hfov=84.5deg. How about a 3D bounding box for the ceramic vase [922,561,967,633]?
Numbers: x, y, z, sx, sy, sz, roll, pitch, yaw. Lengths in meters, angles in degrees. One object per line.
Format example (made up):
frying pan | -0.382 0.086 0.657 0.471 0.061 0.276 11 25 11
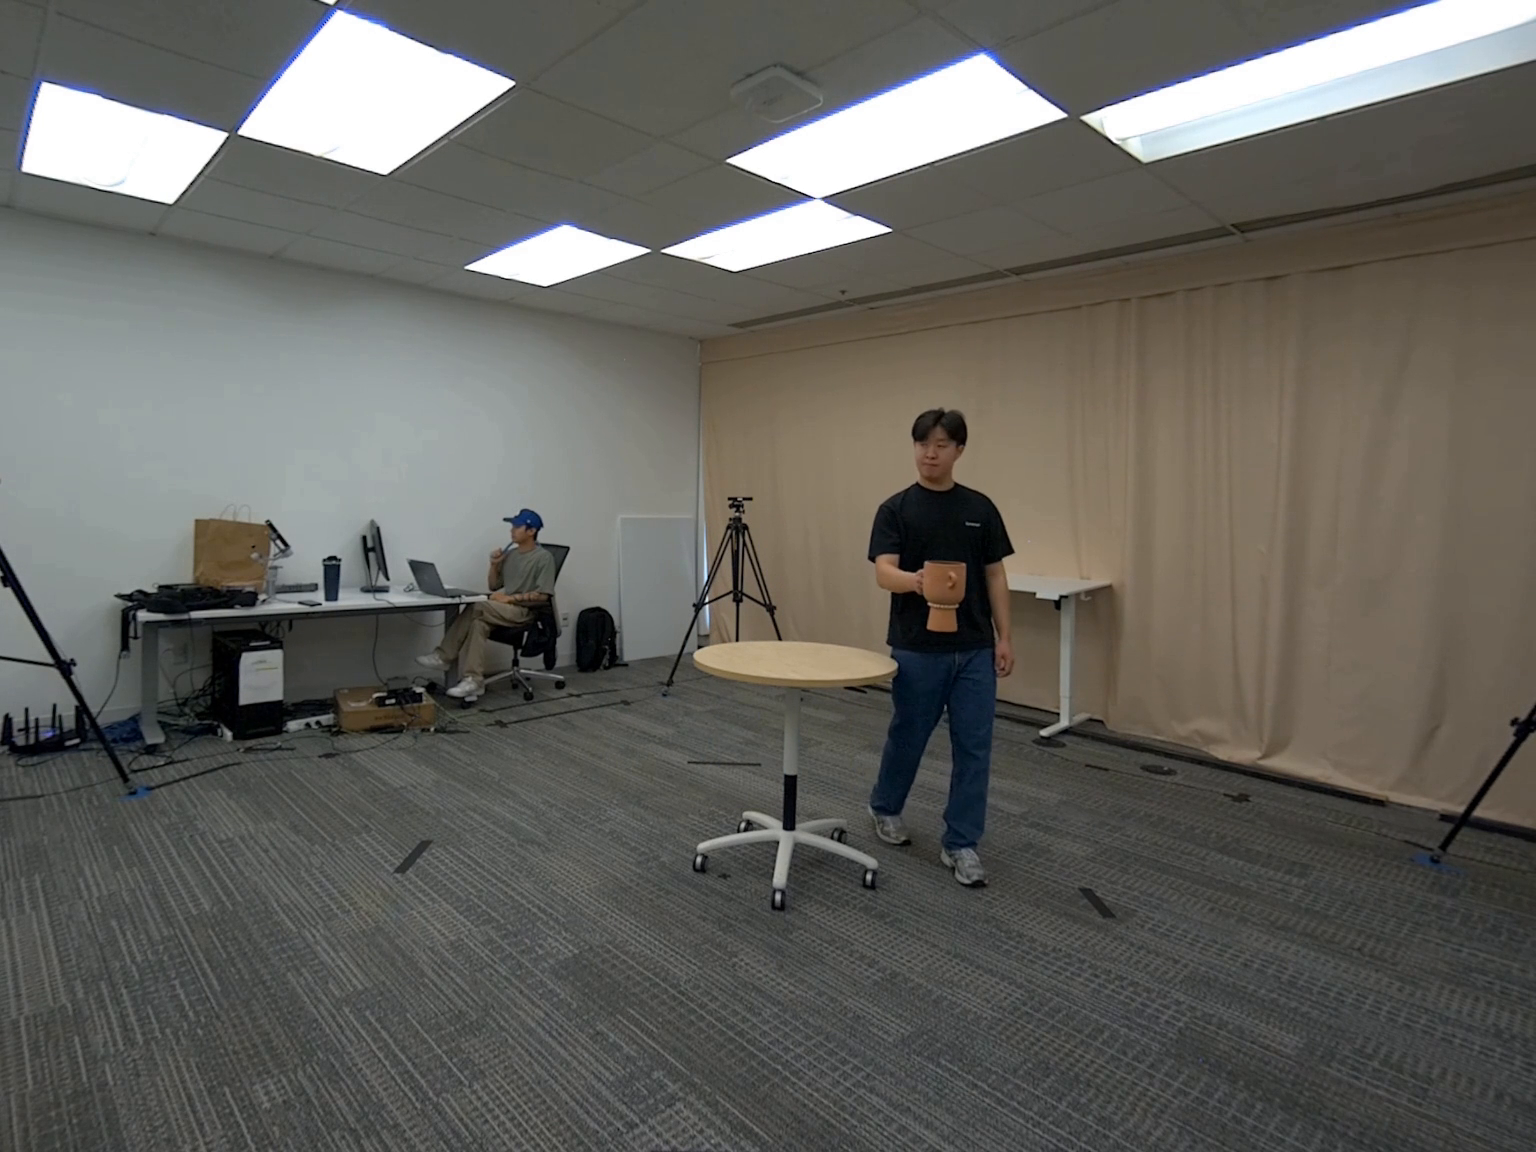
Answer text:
ceramic vase | 0.563 0.065 2.758 0.138 0.219 0.156 5 6 32
